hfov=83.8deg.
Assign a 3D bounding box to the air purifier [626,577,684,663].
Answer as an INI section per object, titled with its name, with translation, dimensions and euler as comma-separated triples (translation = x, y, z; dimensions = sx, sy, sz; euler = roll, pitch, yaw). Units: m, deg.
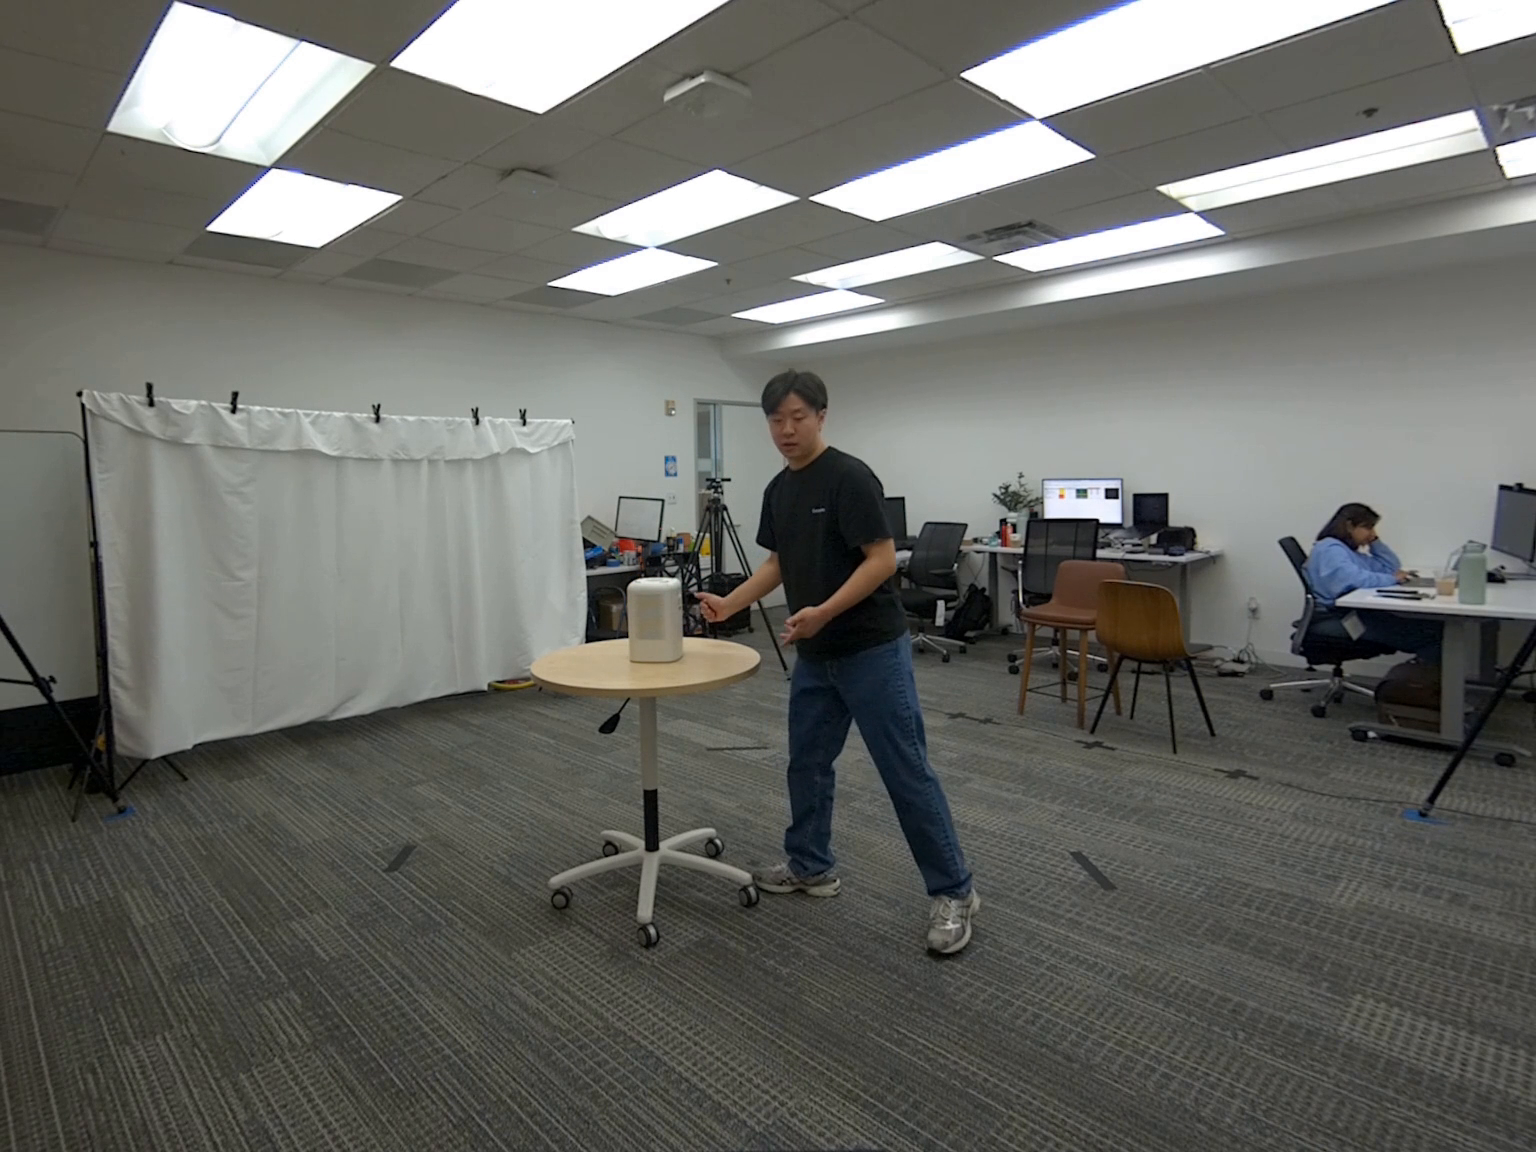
[air purifier]
translation = -0.369, 0.144, 2.886
dimensions = 0.173, 0.264, 0.170
euler = 0, 4, 8
